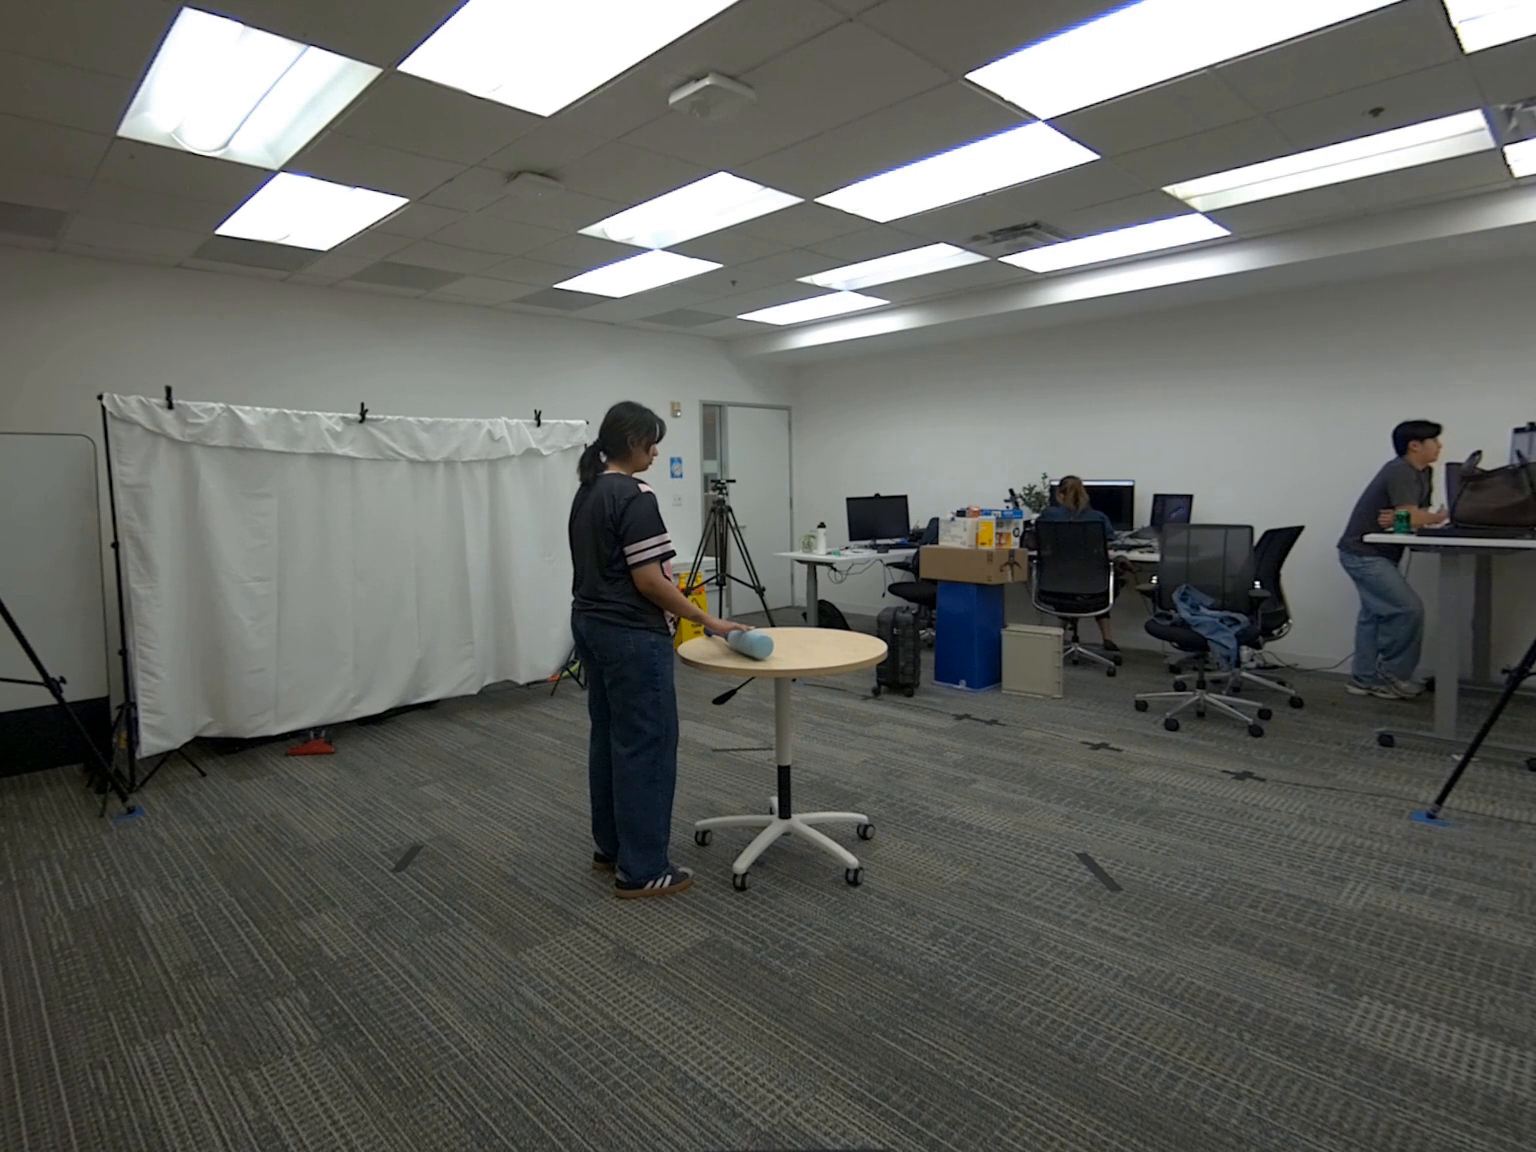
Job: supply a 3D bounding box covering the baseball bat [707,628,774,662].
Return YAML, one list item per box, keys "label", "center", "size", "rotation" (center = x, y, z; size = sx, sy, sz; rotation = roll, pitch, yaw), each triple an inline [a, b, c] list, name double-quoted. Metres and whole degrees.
- label: "baseball bat"
  center: [-0.125, 0.229, 3.126]
  size: [0.087, 0.089, 0.554]
  rotation: [-3, 3, -23]
